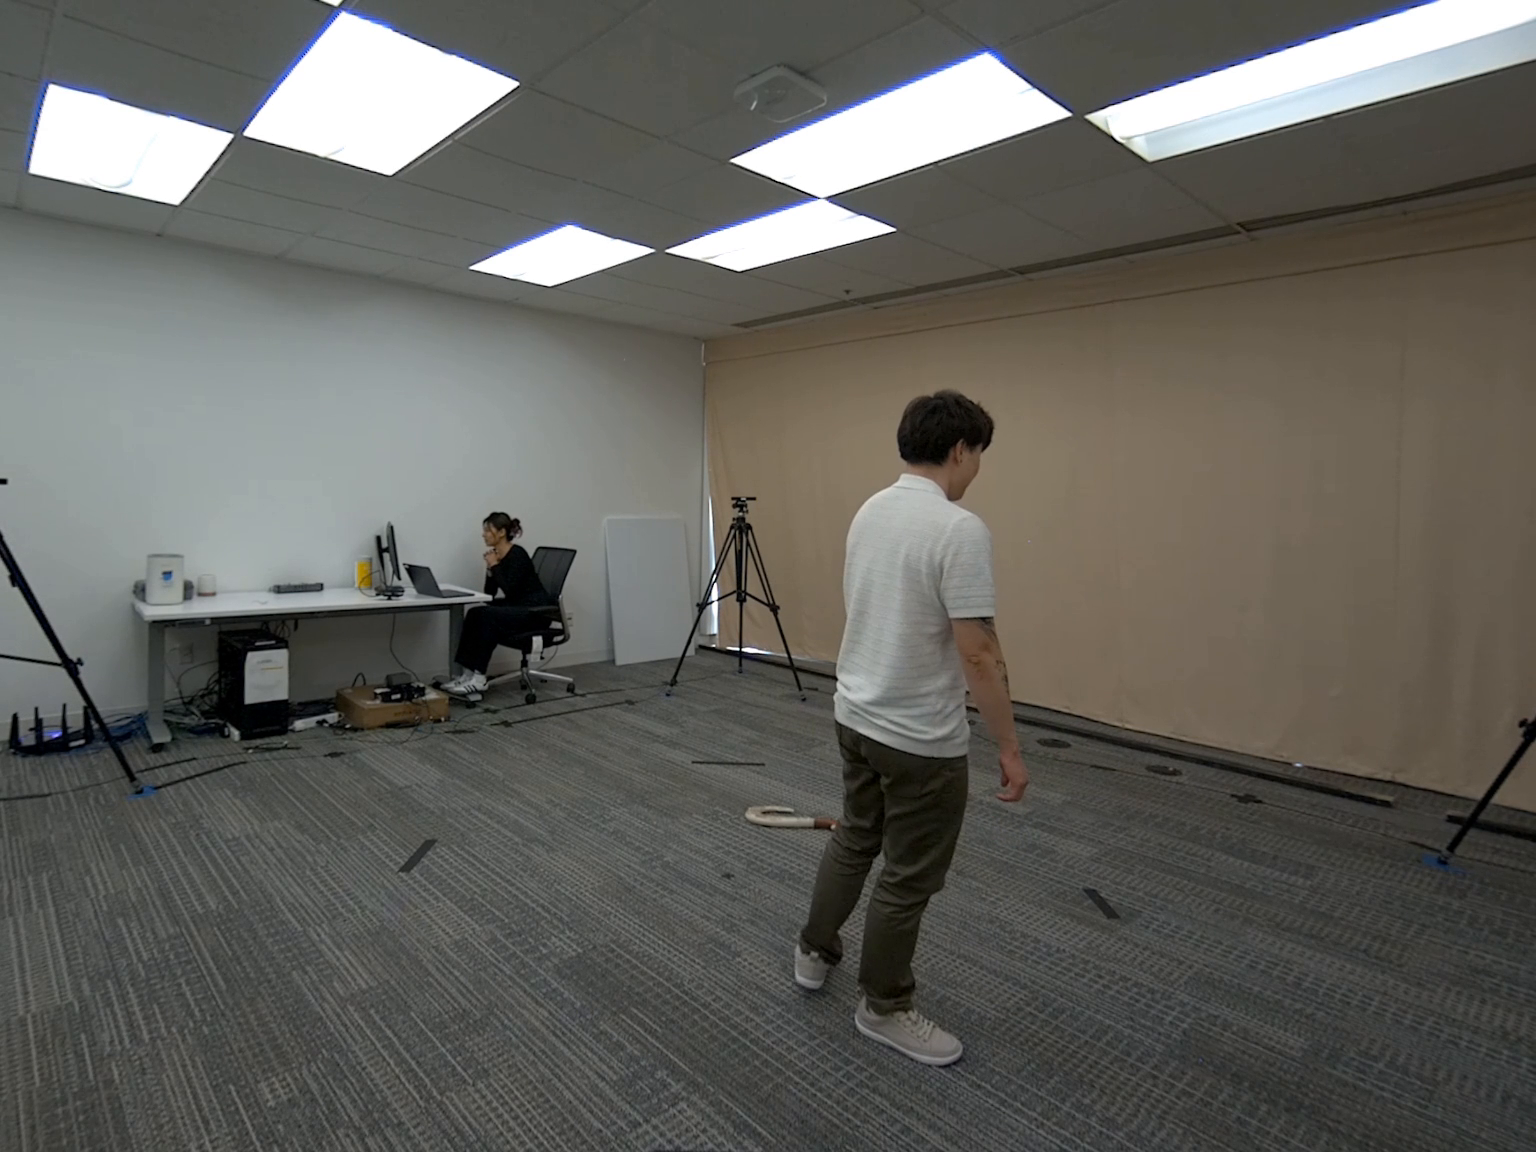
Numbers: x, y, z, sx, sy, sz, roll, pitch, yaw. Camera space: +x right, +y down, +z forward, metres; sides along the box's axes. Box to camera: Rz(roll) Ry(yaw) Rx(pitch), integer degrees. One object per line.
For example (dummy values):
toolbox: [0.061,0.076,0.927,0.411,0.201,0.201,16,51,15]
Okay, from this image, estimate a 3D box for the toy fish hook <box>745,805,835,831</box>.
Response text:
toy fish hook: [0.149,1.044,3.644,0.512,0.048,0.223,3,6,14]
